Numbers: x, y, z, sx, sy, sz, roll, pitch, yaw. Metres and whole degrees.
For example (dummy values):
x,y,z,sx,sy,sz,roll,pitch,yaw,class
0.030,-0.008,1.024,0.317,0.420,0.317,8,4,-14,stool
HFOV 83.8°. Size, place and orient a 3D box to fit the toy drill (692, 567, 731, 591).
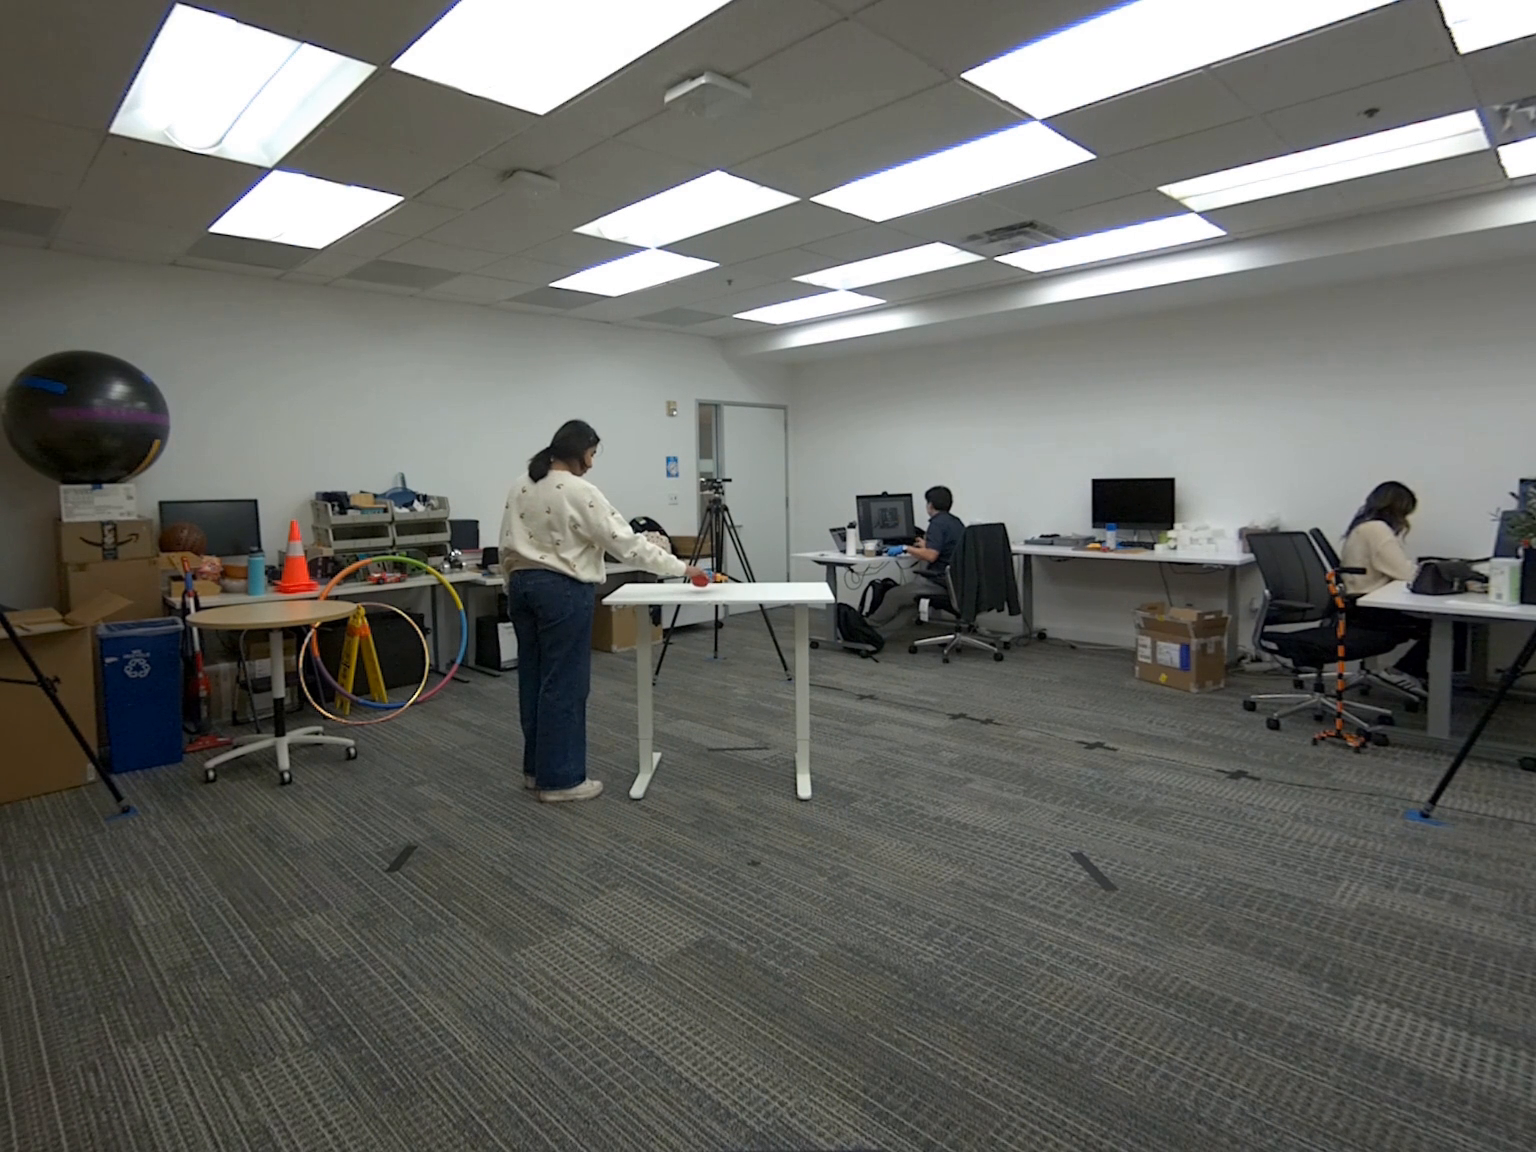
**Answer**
x,y,z,sx,sy,sz,roll,pitch,yaw,class
-0.259,0.011,3.908,0.170,0.060,0.147,3,13,-1,toy drill
